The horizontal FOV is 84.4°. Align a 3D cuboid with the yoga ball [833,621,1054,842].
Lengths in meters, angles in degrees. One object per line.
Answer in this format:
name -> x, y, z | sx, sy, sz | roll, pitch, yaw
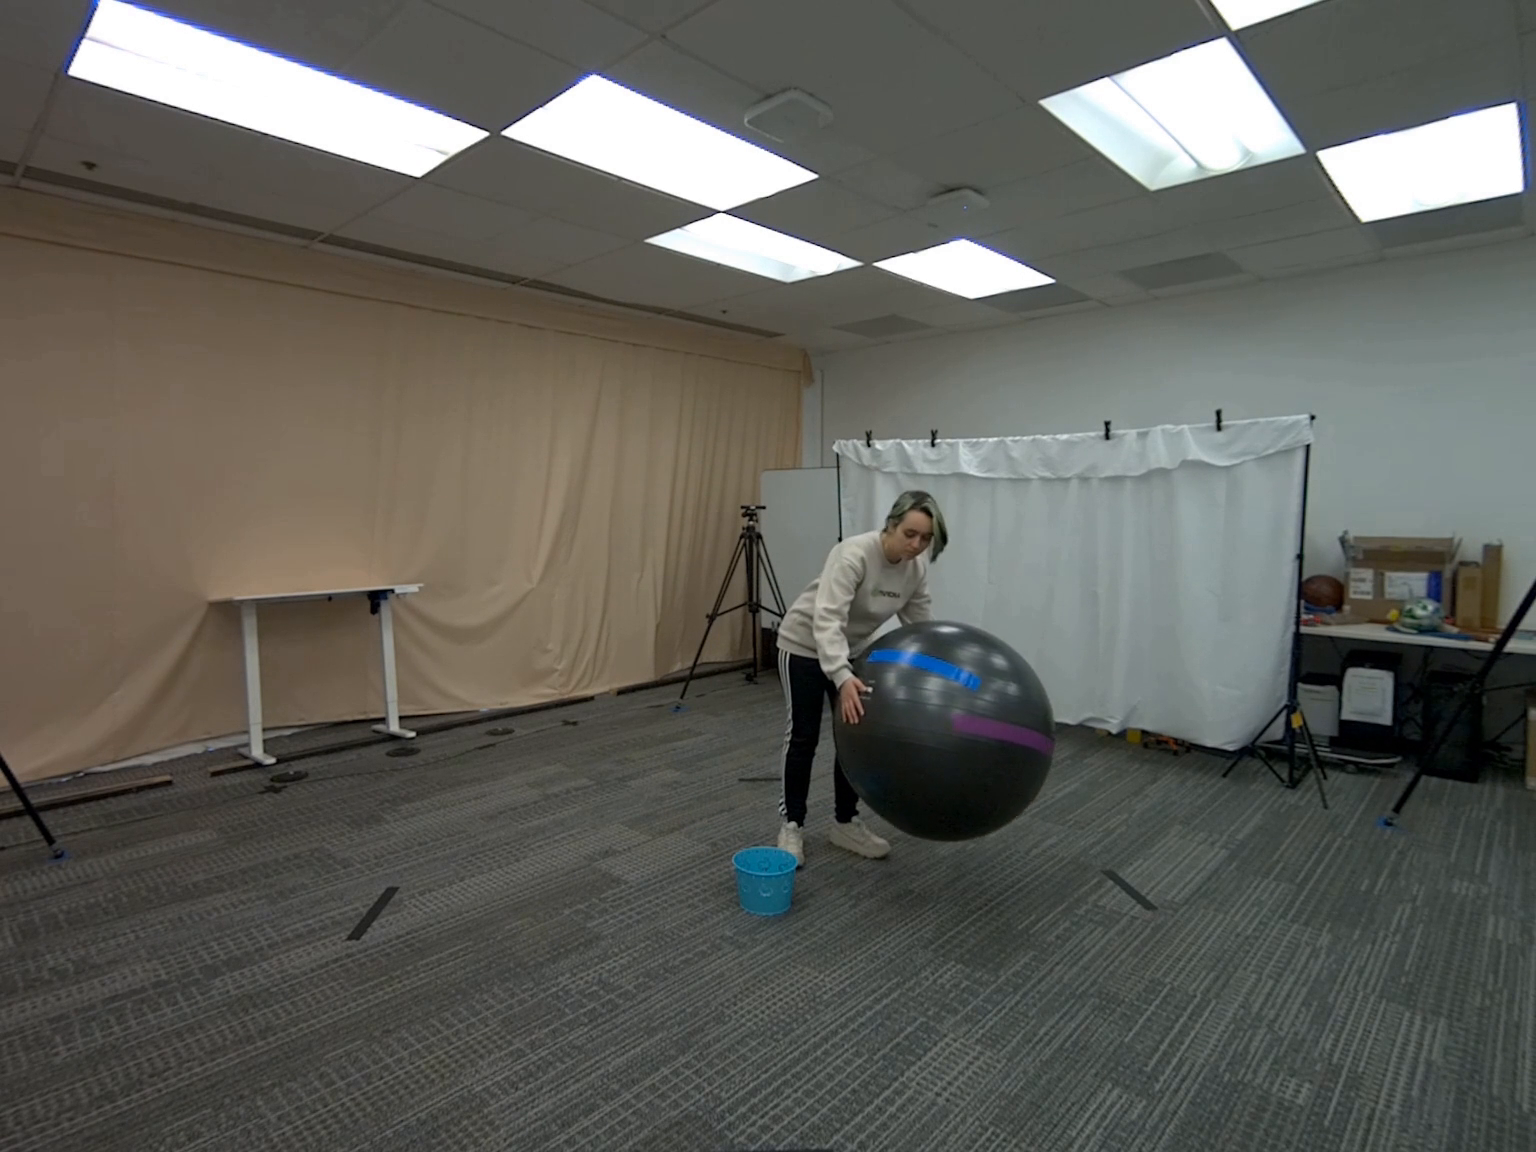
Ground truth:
yoga ball -> 0.621, 0.551, 2.994 | 0.757, 0.756, 0.760 | 0, 4, -2
